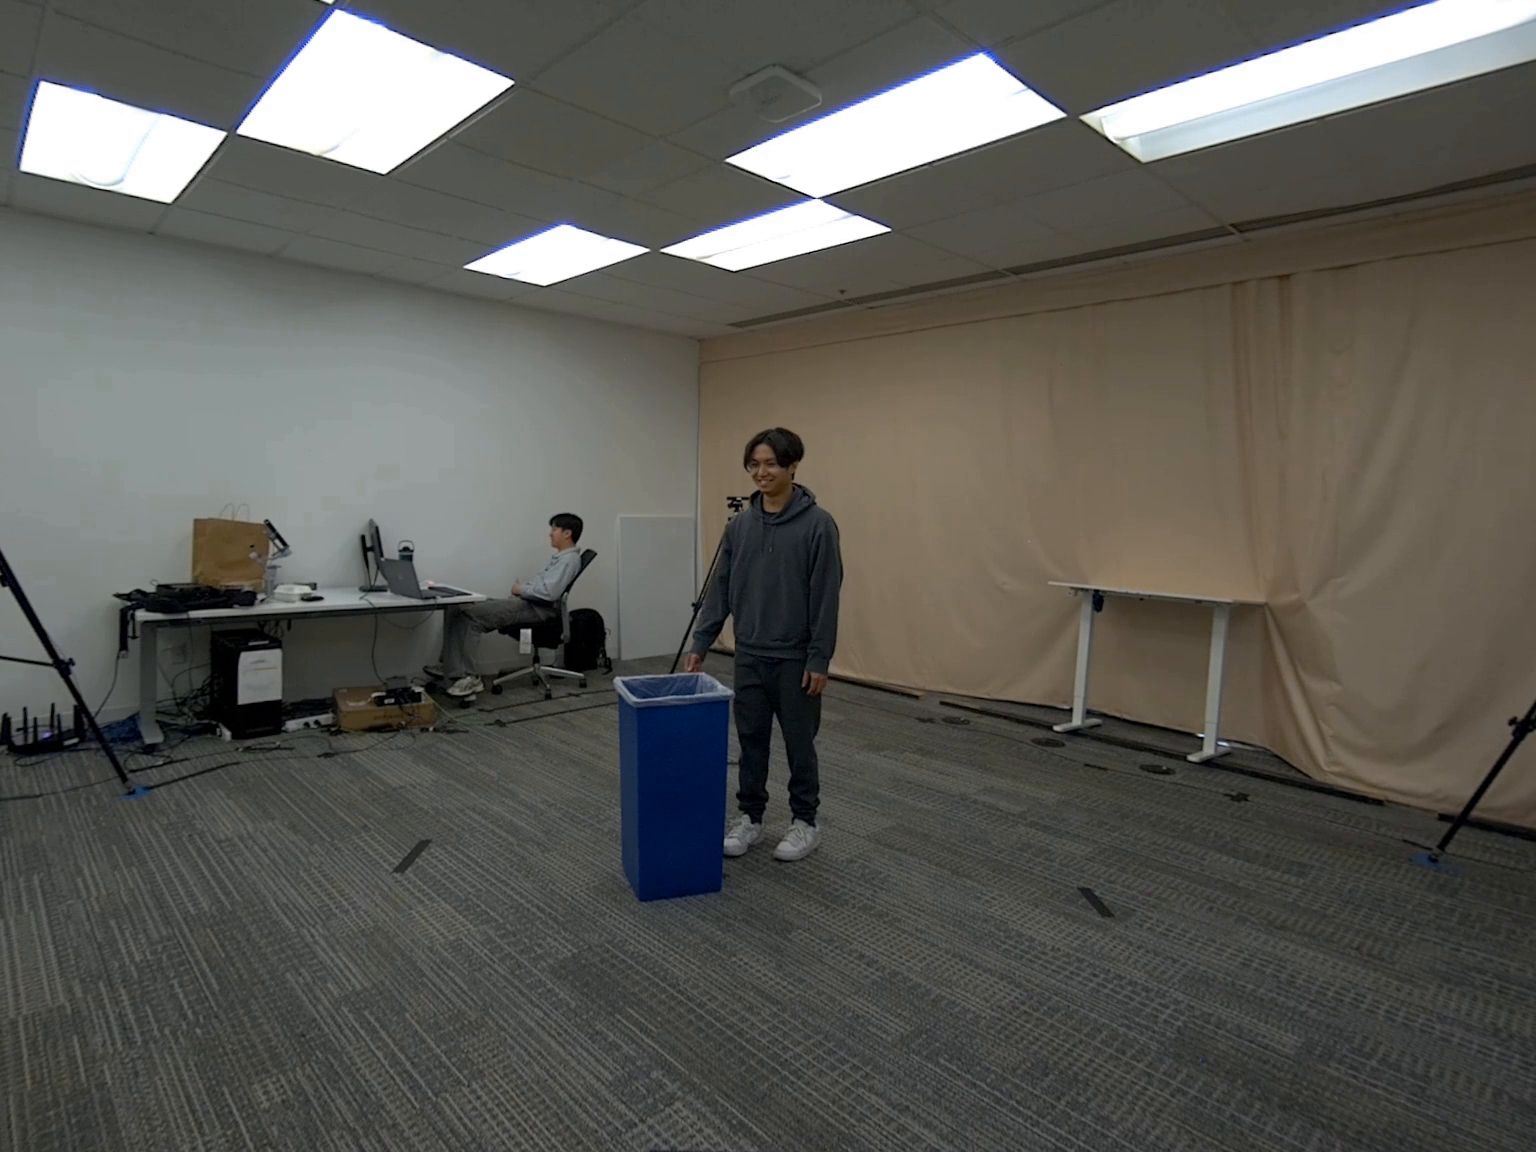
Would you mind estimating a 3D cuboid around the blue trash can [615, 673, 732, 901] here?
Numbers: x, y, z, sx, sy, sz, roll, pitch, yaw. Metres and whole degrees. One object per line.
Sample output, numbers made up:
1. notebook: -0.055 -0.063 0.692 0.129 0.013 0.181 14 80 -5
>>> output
1. blue trash can: -0.359 0.748 3.046 0.368 0.712 0.385 0 3 -21
